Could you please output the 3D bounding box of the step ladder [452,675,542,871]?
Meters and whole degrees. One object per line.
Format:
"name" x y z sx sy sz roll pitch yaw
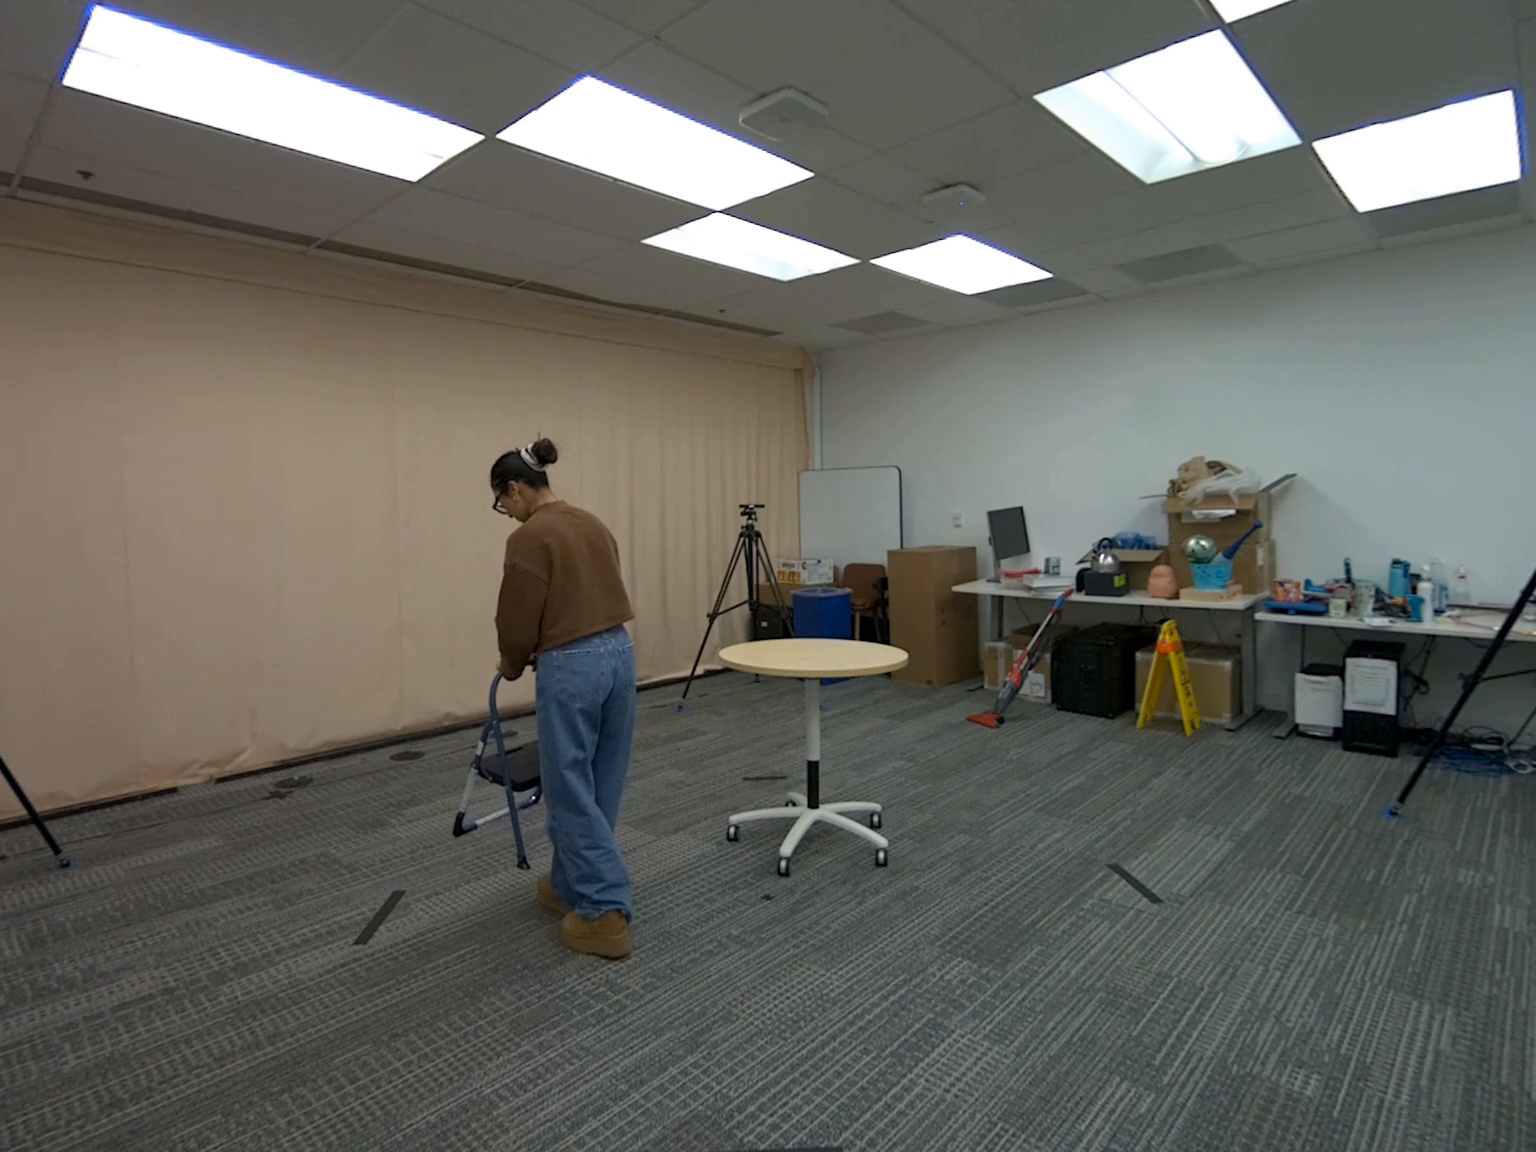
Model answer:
"step ladder" -0.807 0.611 2.935 0.359 0.604 0.419 10 7 28
